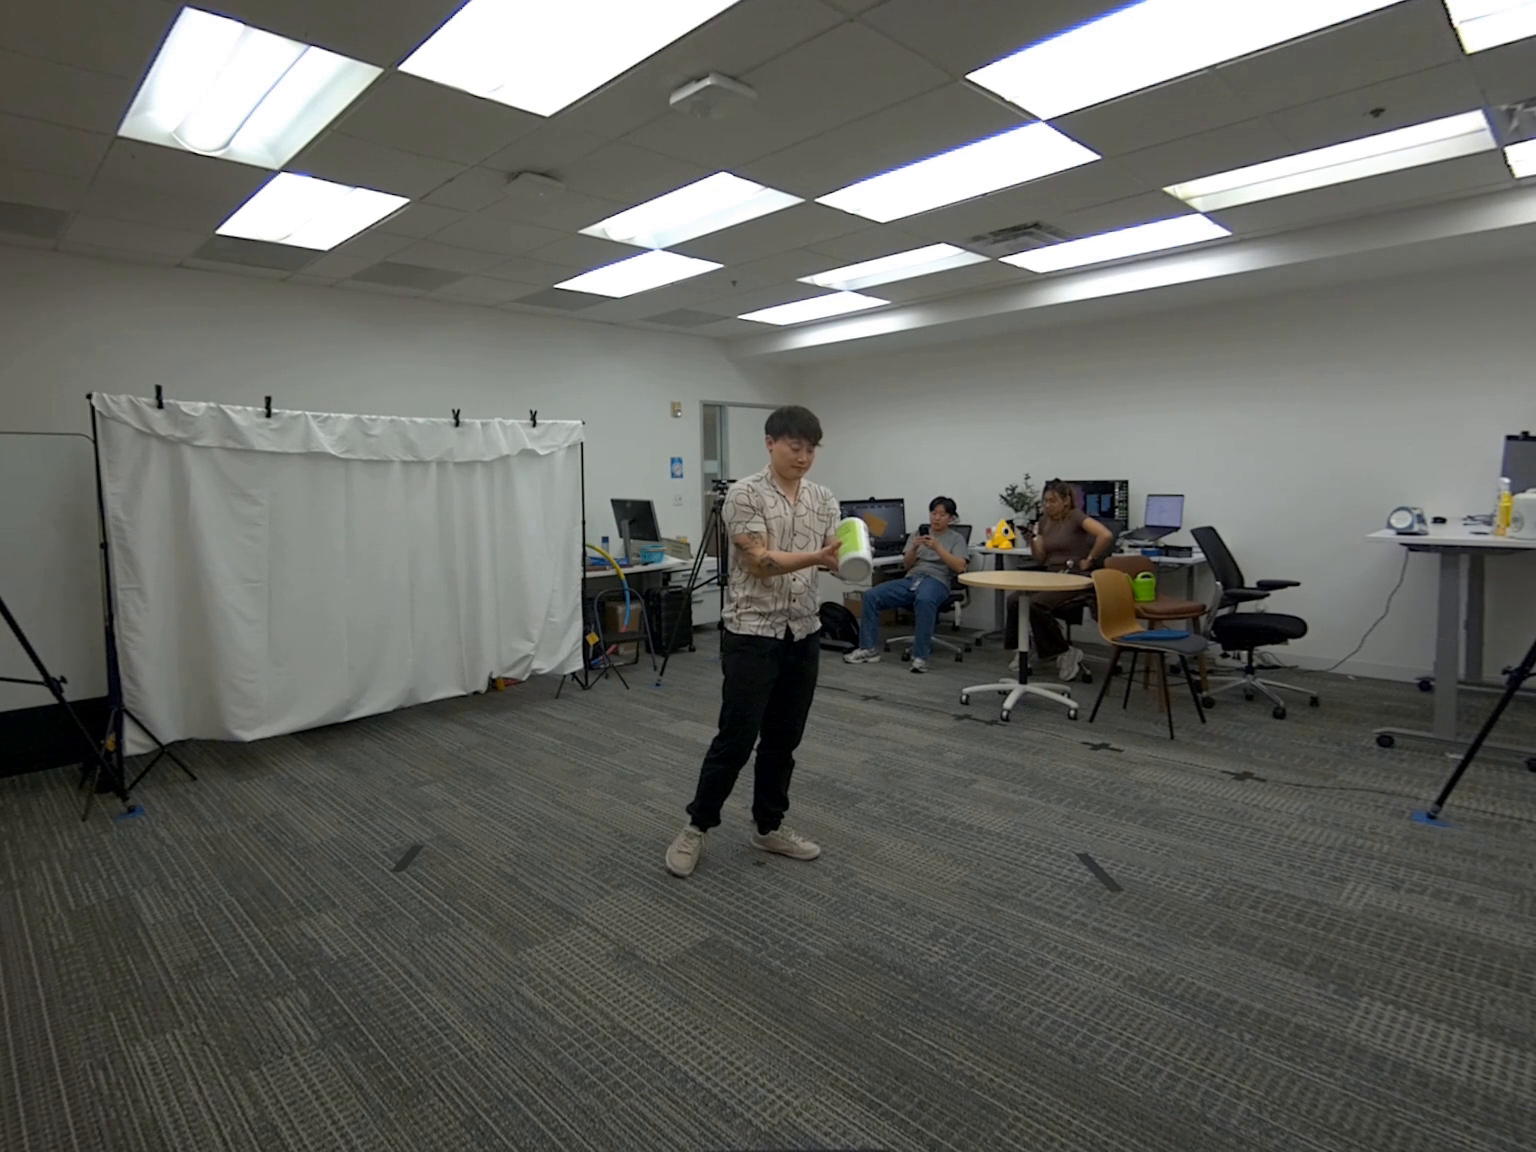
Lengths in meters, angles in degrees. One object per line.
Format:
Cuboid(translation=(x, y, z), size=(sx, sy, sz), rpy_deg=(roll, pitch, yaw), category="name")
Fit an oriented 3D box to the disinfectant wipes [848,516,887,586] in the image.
Cuboid(translation=(0.320, -0.086, 2.793), size=(0.119, 0.114, 0.222), rpy_deg=(-1, 37, 7), category="disinfectant wipes")
